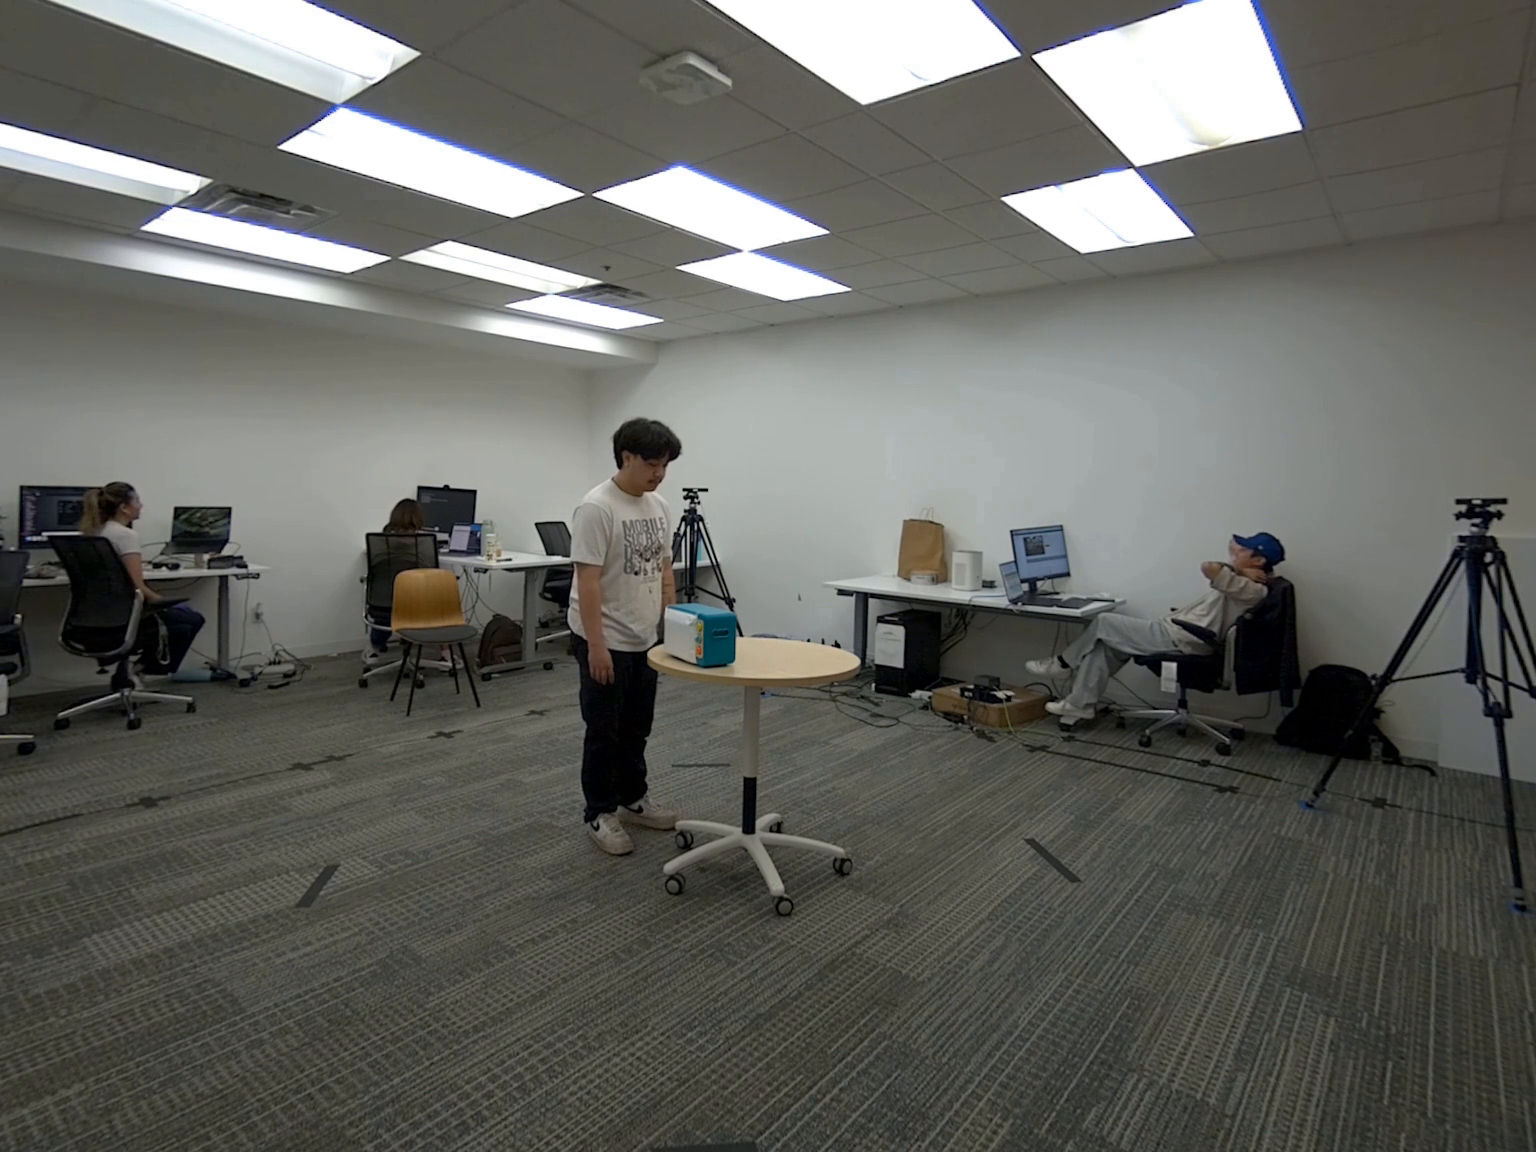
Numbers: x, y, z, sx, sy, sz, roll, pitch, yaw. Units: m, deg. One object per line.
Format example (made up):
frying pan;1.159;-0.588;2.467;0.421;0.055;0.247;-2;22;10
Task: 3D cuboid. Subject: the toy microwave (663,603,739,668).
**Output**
toy microwave;-0.255;0.199;2.943;0.148;0.183;0.295;-1;5;-34
